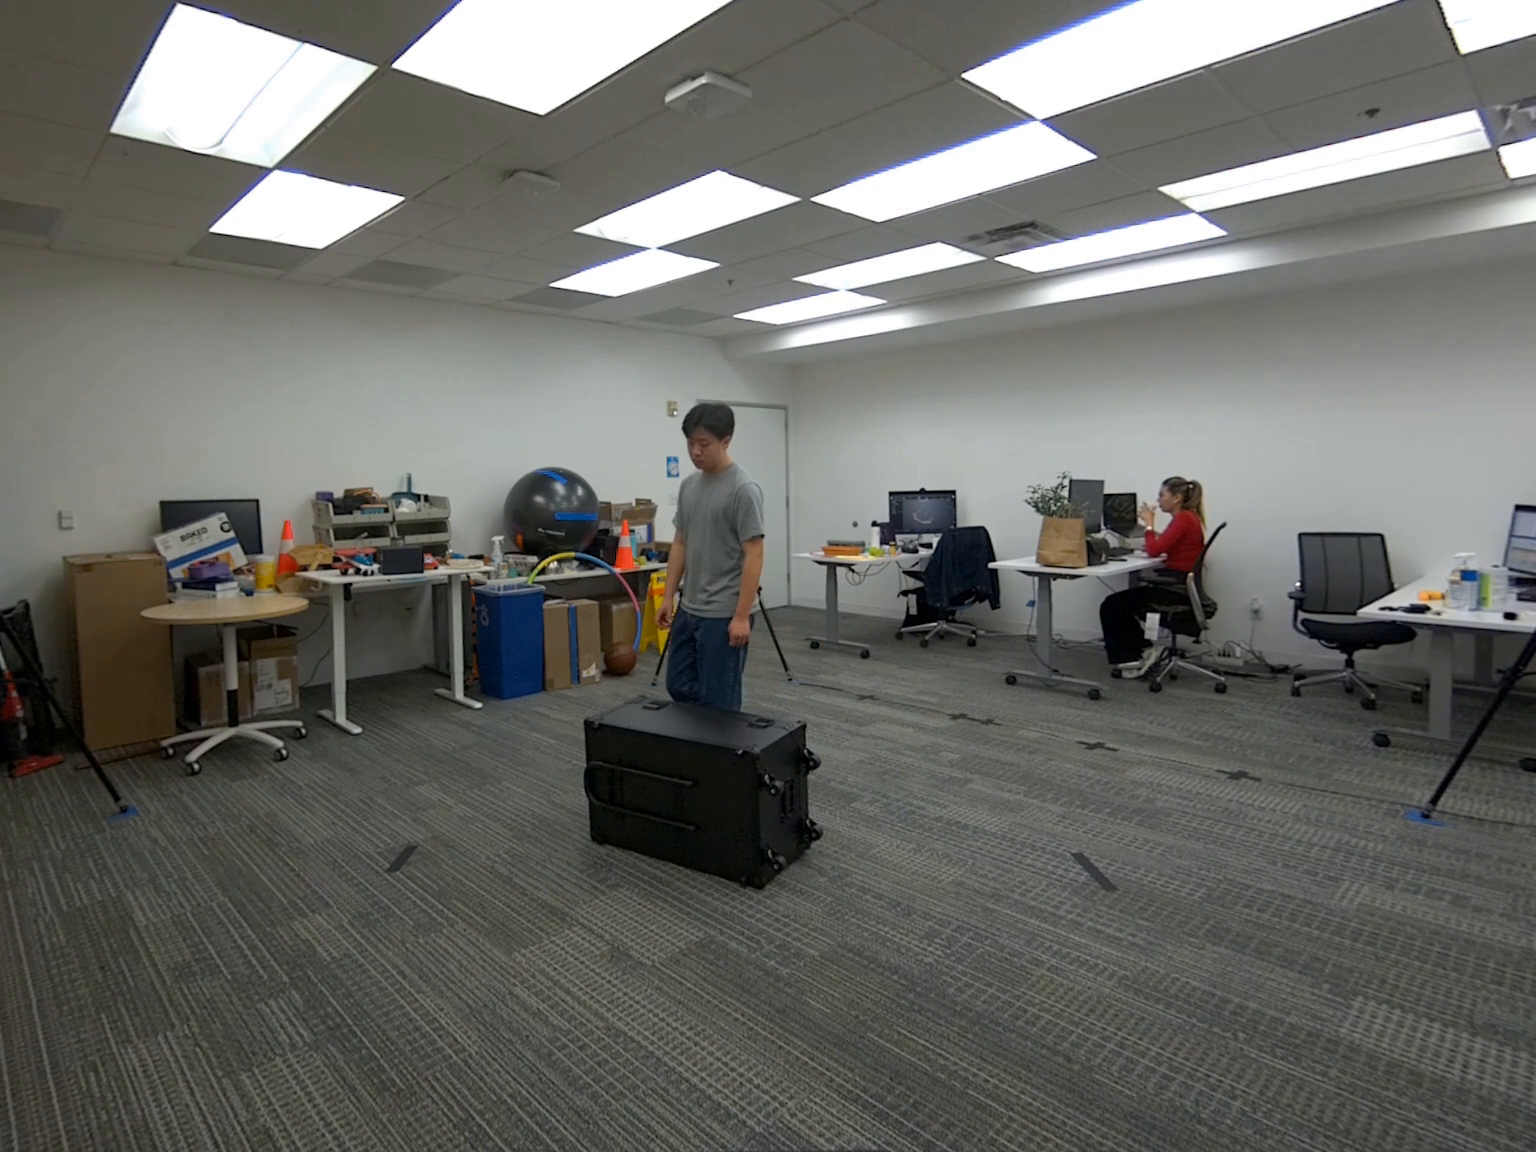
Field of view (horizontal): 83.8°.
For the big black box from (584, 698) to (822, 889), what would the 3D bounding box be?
[{"bbox_3d":[-0.254,0.782,3.209,0.885,0.518,0.388,2,8,32],"label":"big black box"}]
